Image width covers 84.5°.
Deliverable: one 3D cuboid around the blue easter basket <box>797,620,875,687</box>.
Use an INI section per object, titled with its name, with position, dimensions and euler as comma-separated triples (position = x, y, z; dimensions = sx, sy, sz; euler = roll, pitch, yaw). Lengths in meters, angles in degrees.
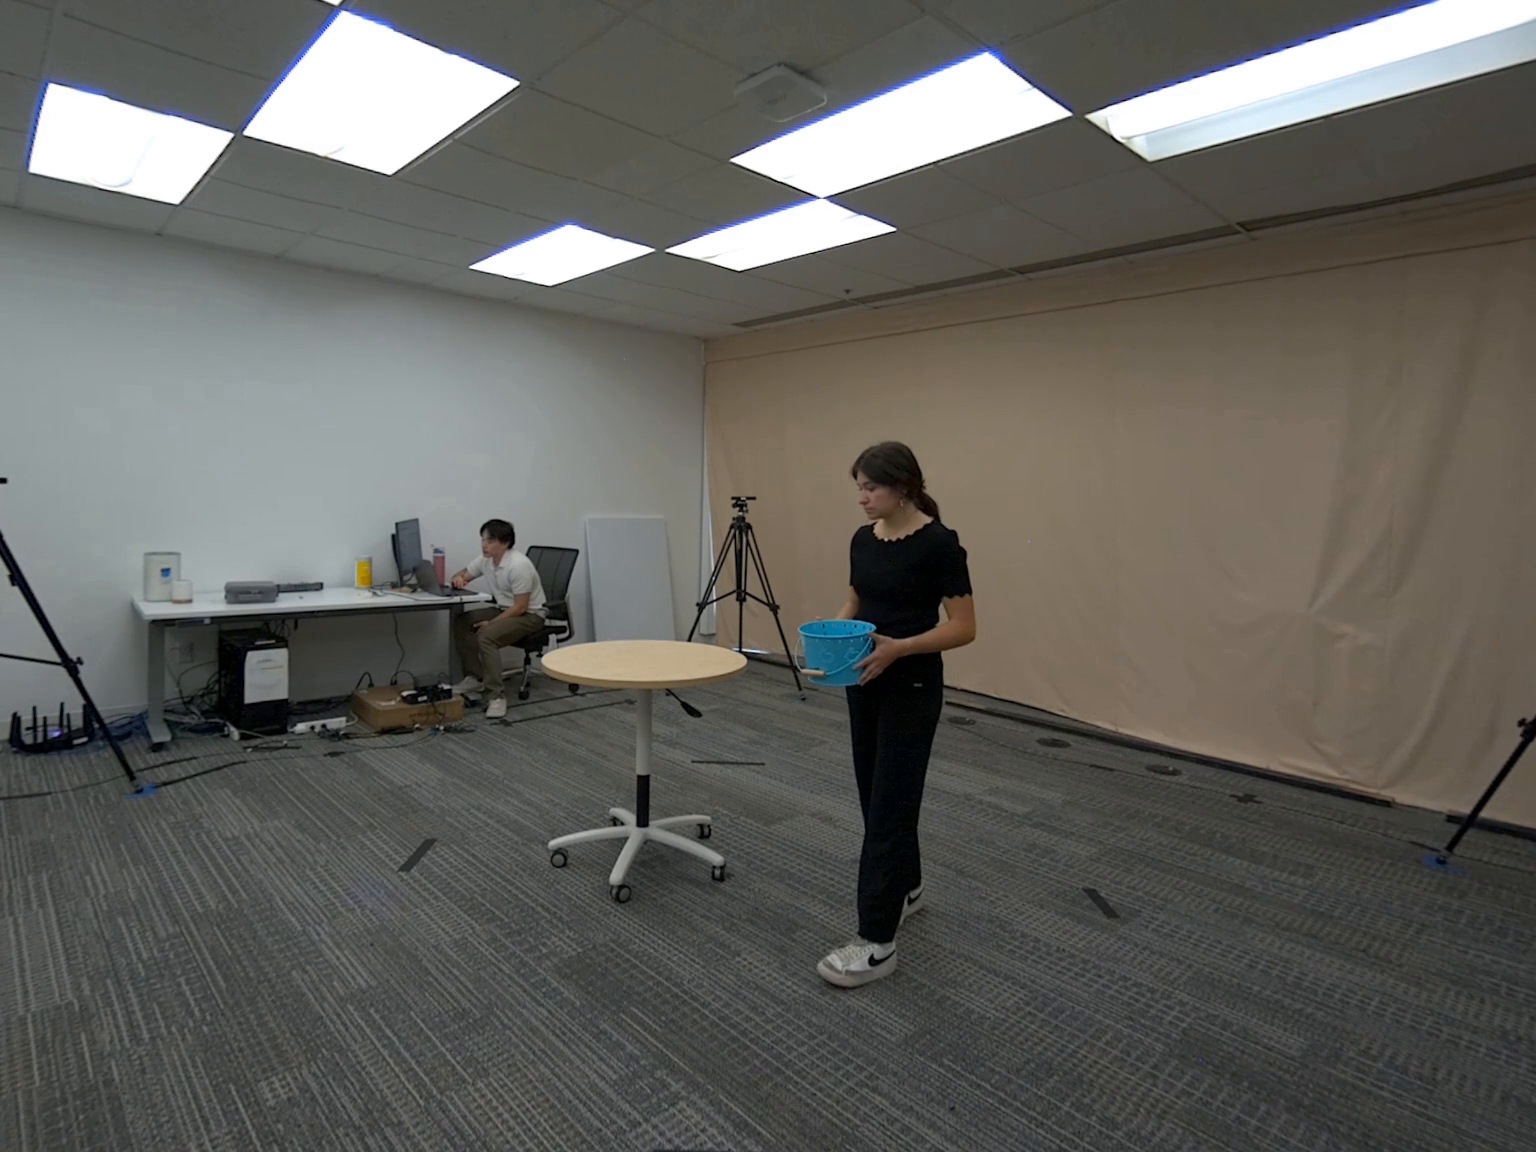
[blue easter basket]
position = 0.205, 0.232, 2.509
dimensions = 0.243, 0.155, 0.245
euler = -1, 8, -1
